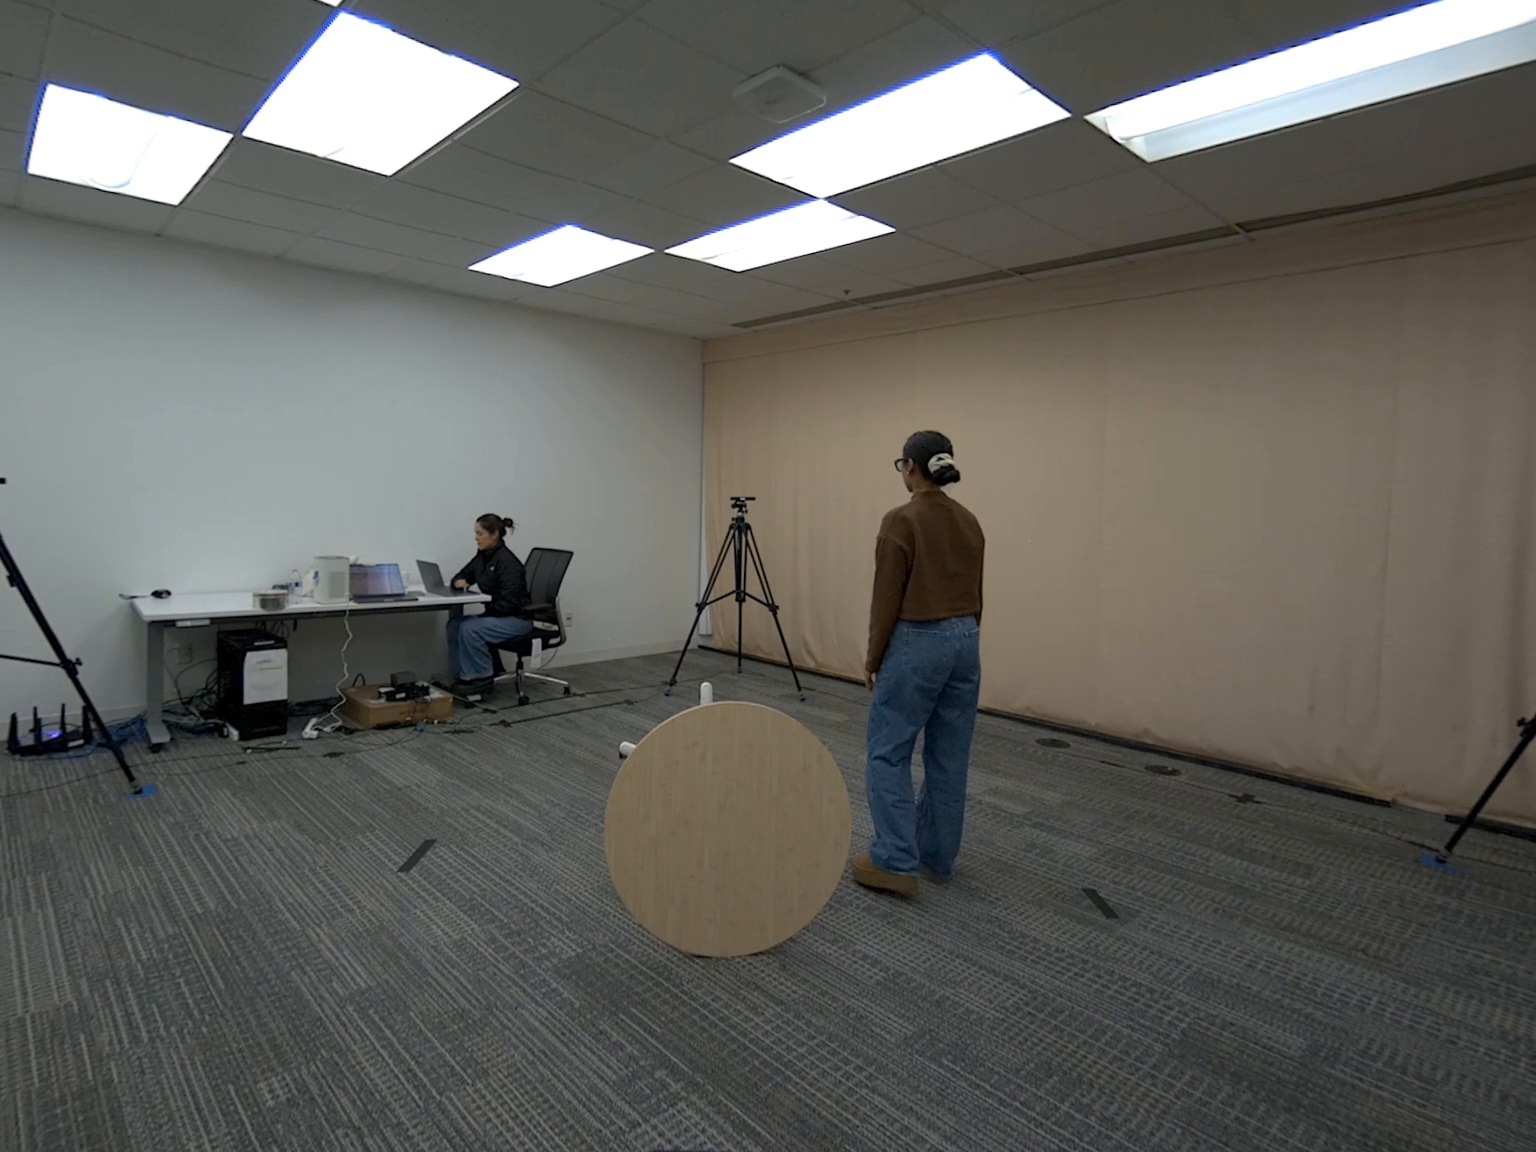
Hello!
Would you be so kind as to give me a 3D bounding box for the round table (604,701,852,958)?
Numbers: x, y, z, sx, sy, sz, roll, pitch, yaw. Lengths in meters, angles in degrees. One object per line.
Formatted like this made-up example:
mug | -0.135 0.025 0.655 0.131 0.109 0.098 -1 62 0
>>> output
round table | -0.182 0.779 2.955 0.759 0.765 0.798 1 -1 -9
